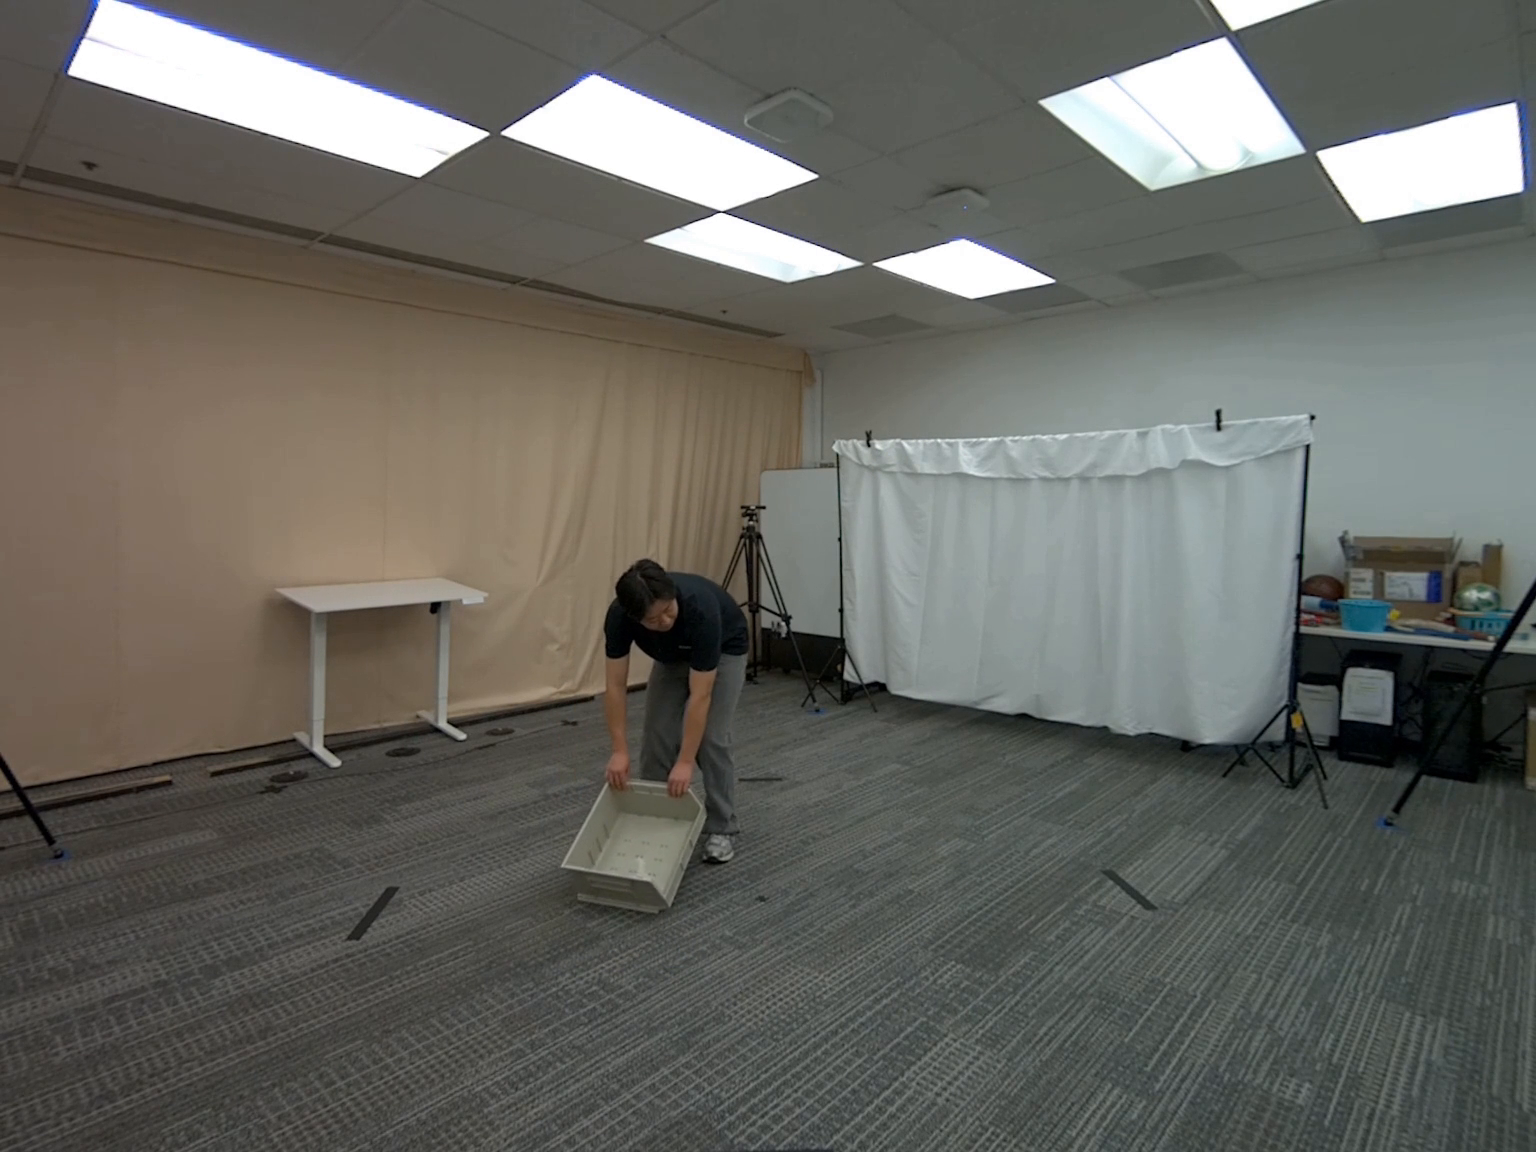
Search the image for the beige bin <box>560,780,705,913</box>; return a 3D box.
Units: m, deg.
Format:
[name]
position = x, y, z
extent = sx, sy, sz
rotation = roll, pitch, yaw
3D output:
[beige bin]
position = -0.460, 0.966, 3.043
extent = 0.385, 0.185, 0.423
rotation = 0, 33, 20
